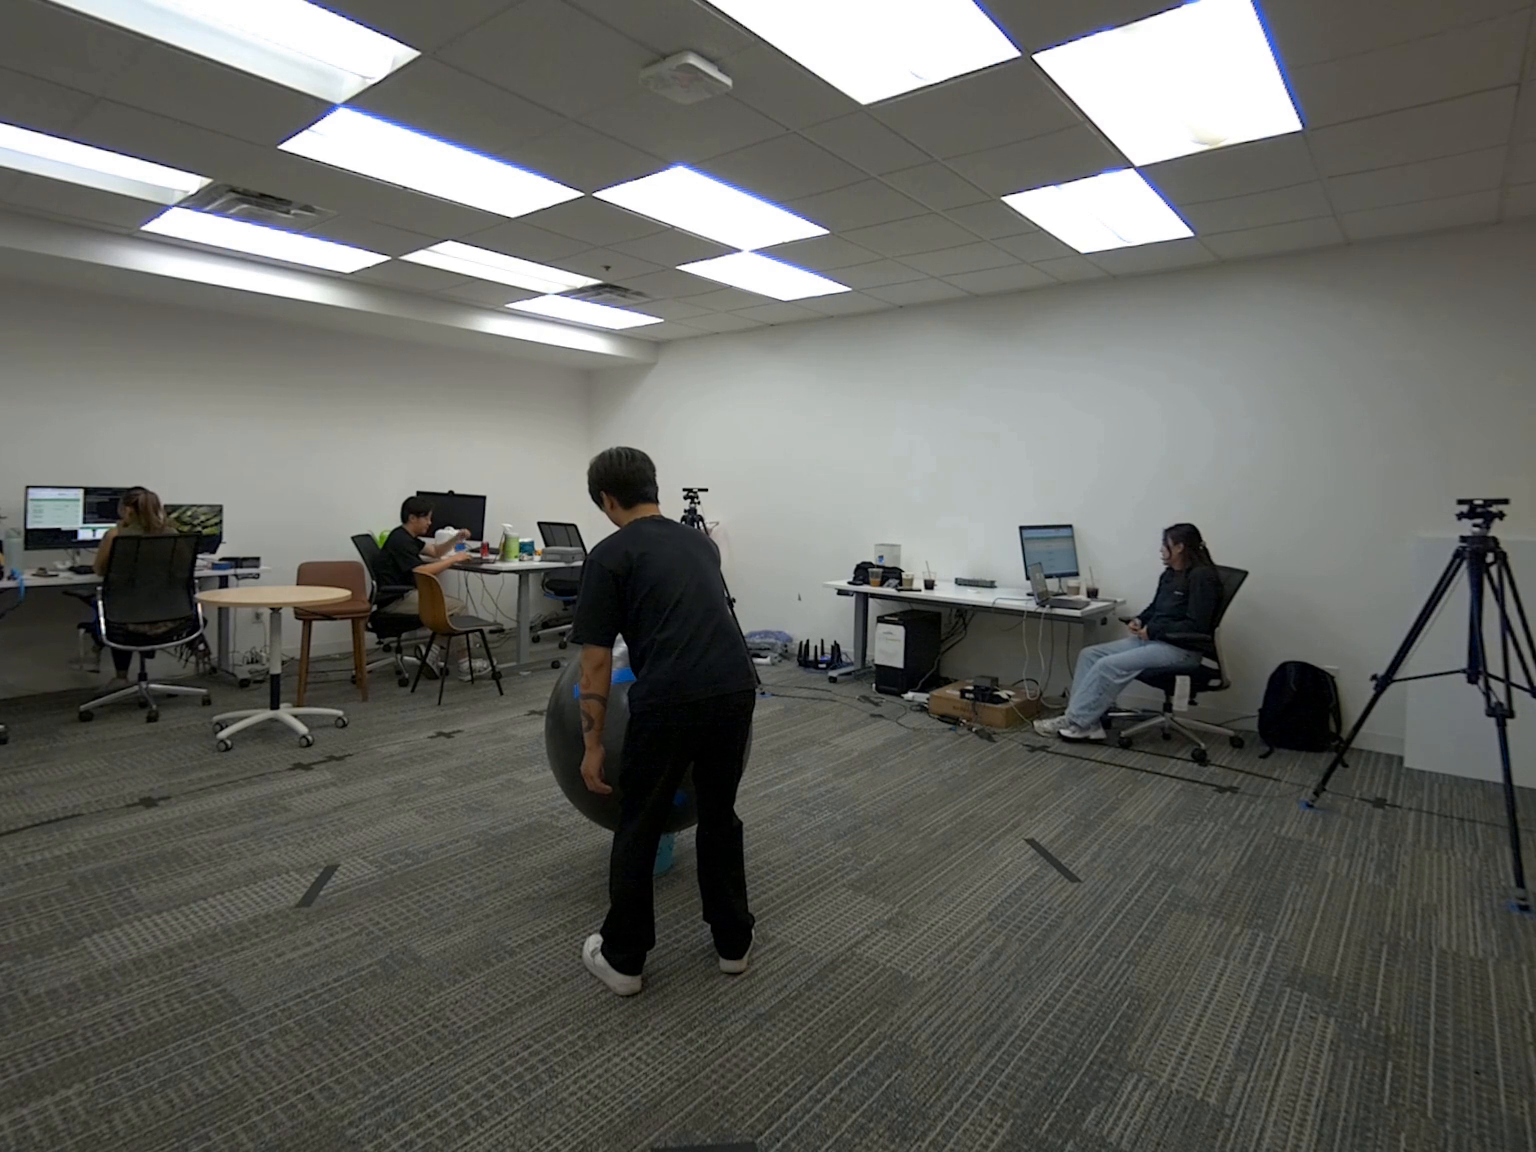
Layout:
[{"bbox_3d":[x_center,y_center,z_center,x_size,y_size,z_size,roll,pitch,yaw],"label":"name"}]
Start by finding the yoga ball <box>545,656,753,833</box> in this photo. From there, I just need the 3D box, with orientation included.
[{"bbox_3d":[-0.446,0.555,3.130,0.757,0.756,0.762,1,4,-2],"label":"yoga ball"}]
